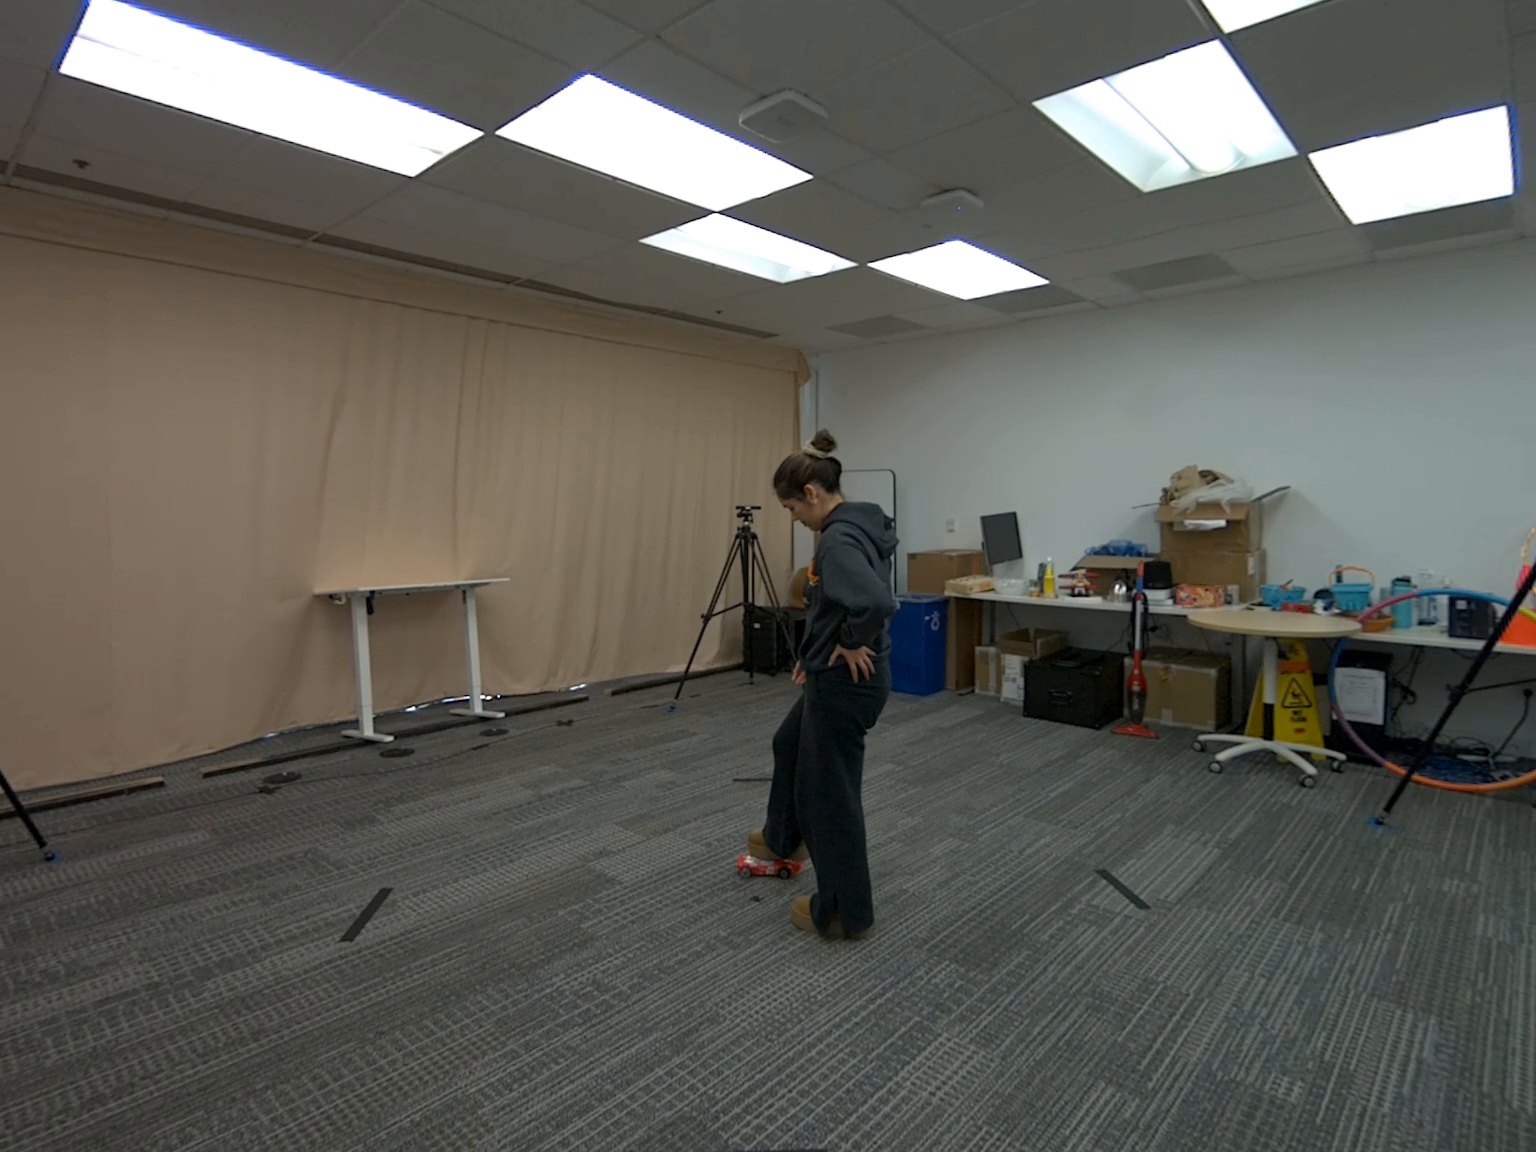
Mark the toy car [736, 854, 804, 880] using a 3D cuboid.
[{"bbox_3d":[0.040,1.092,3.187,0.257,0.083,0.130,-12,6,9],"label":"toy car"}]
